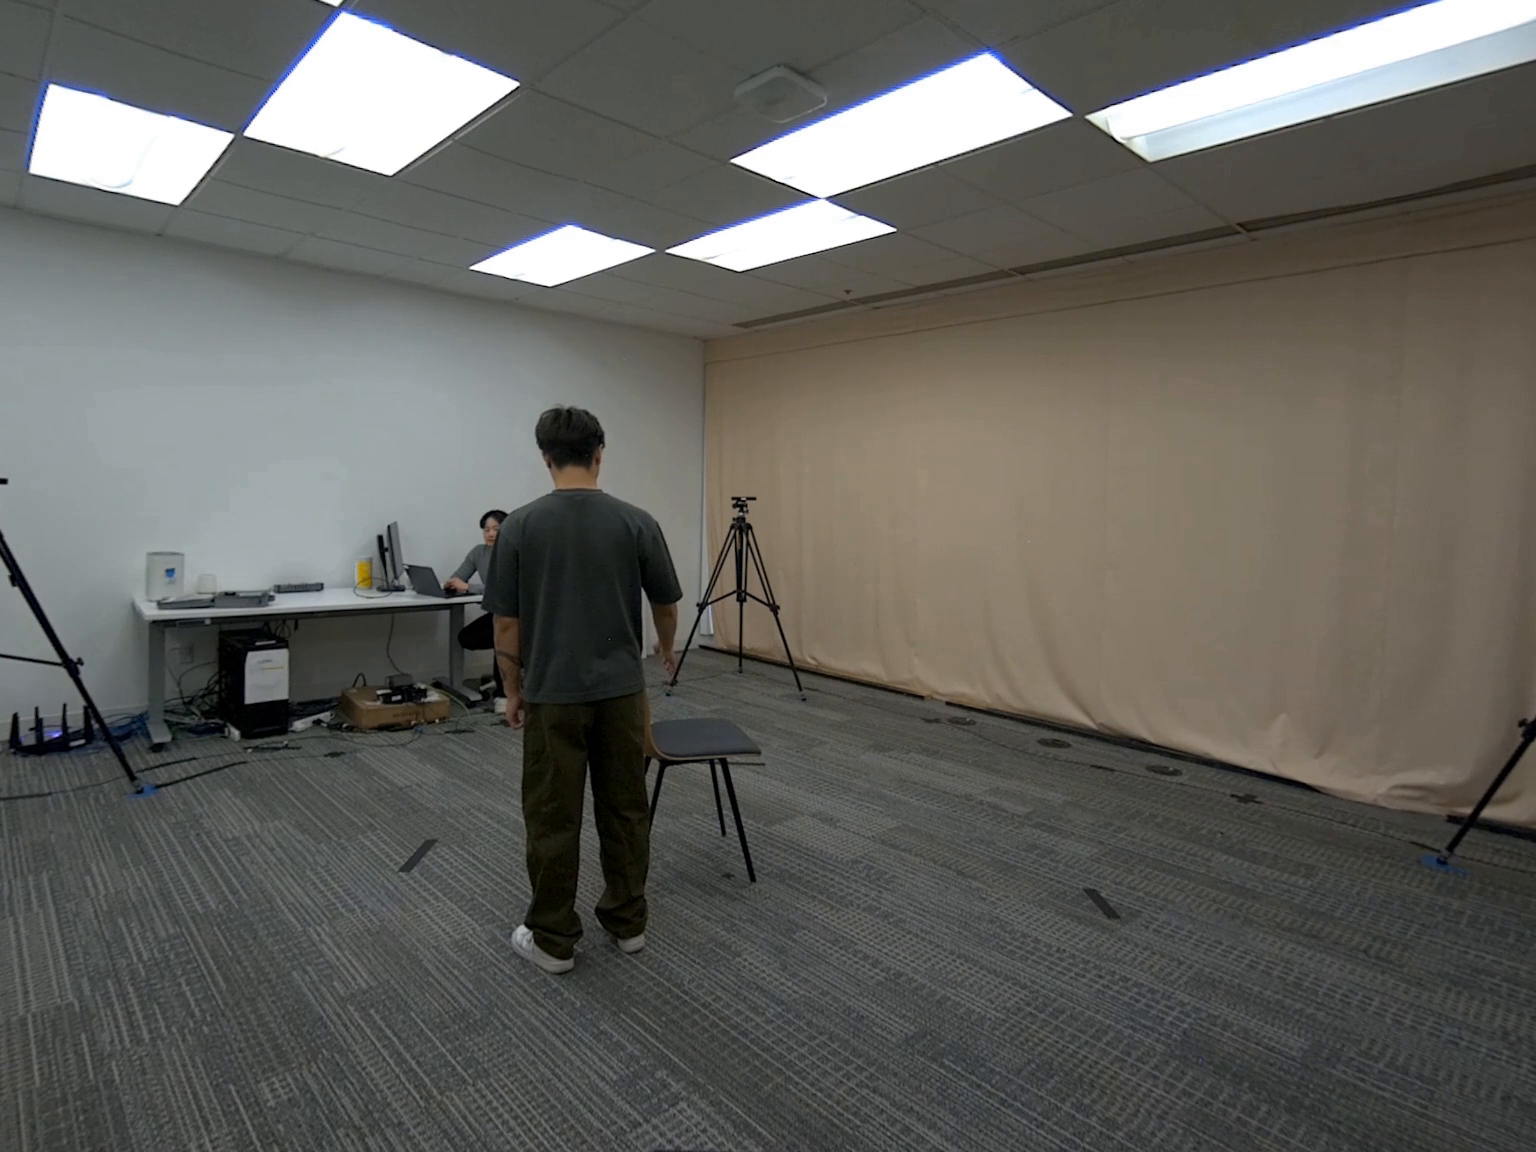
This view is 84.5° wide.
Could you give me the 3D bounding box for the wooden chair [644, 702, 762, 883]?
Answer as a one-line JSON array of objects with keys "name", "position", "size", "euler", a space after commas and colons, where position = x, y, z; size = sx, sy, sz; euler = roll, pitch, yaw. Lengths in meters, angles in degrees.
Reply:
[{"name": "wooden chair", "position": [-0.313, 0.668, 3.187], "size": [0.517, 0.875, 0.485], "euler": [-4, 4, -16]}]
